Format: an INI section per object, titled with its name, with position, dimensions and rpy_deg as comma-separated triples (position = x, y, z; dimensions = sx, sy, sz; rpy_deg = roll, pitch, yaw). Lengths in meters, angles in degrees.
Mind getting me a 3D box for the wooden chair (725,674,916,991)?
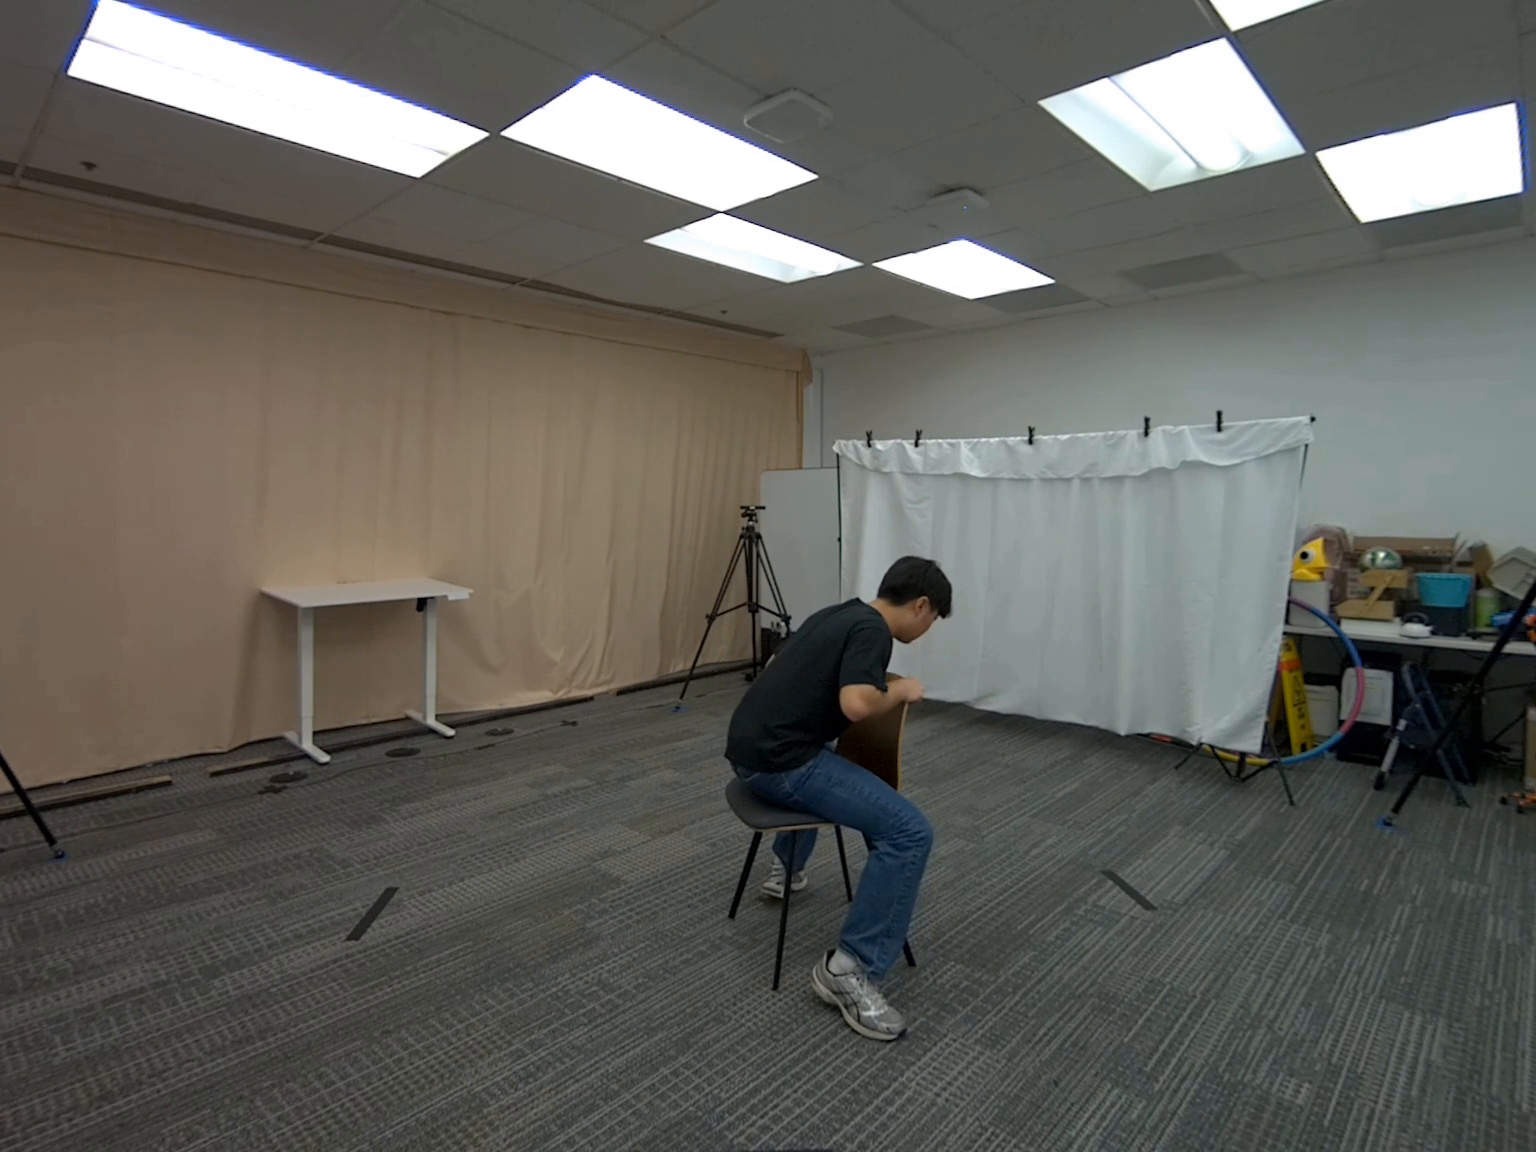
[wooden chair]
position = 0.153, 0.751, 2.663
dimensions = 0.513, 0.876, 0.488
rpy_deg = 3, 2, -18
